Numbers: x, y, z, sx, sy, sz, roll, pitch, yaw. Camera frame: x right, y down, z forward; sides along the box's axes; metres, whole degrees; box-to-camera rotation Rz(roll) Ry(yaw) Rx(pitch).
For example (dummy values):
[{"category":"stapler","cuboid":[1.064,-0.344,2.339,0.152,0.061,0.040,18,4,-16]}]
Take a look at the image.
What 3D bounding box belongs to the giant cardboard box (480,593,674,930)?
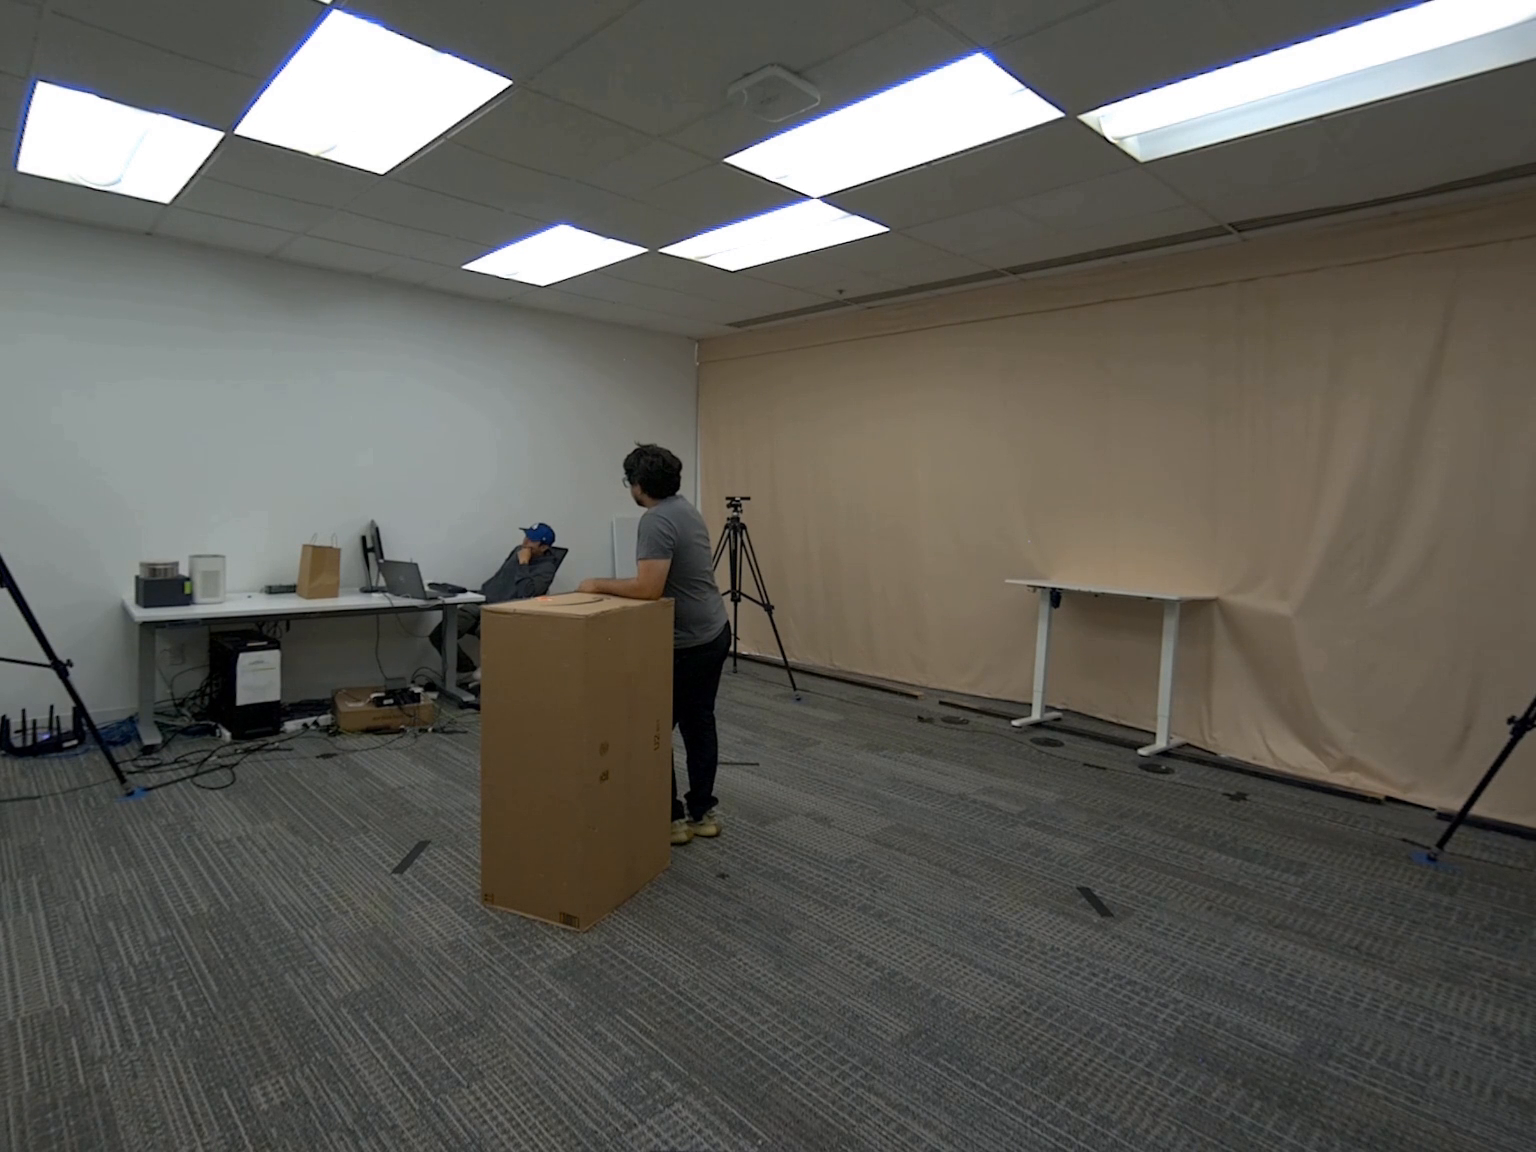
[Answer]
[{"category":"giant cardboard box","cuboid":[-0.676,0.599,2.986,0.434,1.023,0.568,3,4,25]}]
